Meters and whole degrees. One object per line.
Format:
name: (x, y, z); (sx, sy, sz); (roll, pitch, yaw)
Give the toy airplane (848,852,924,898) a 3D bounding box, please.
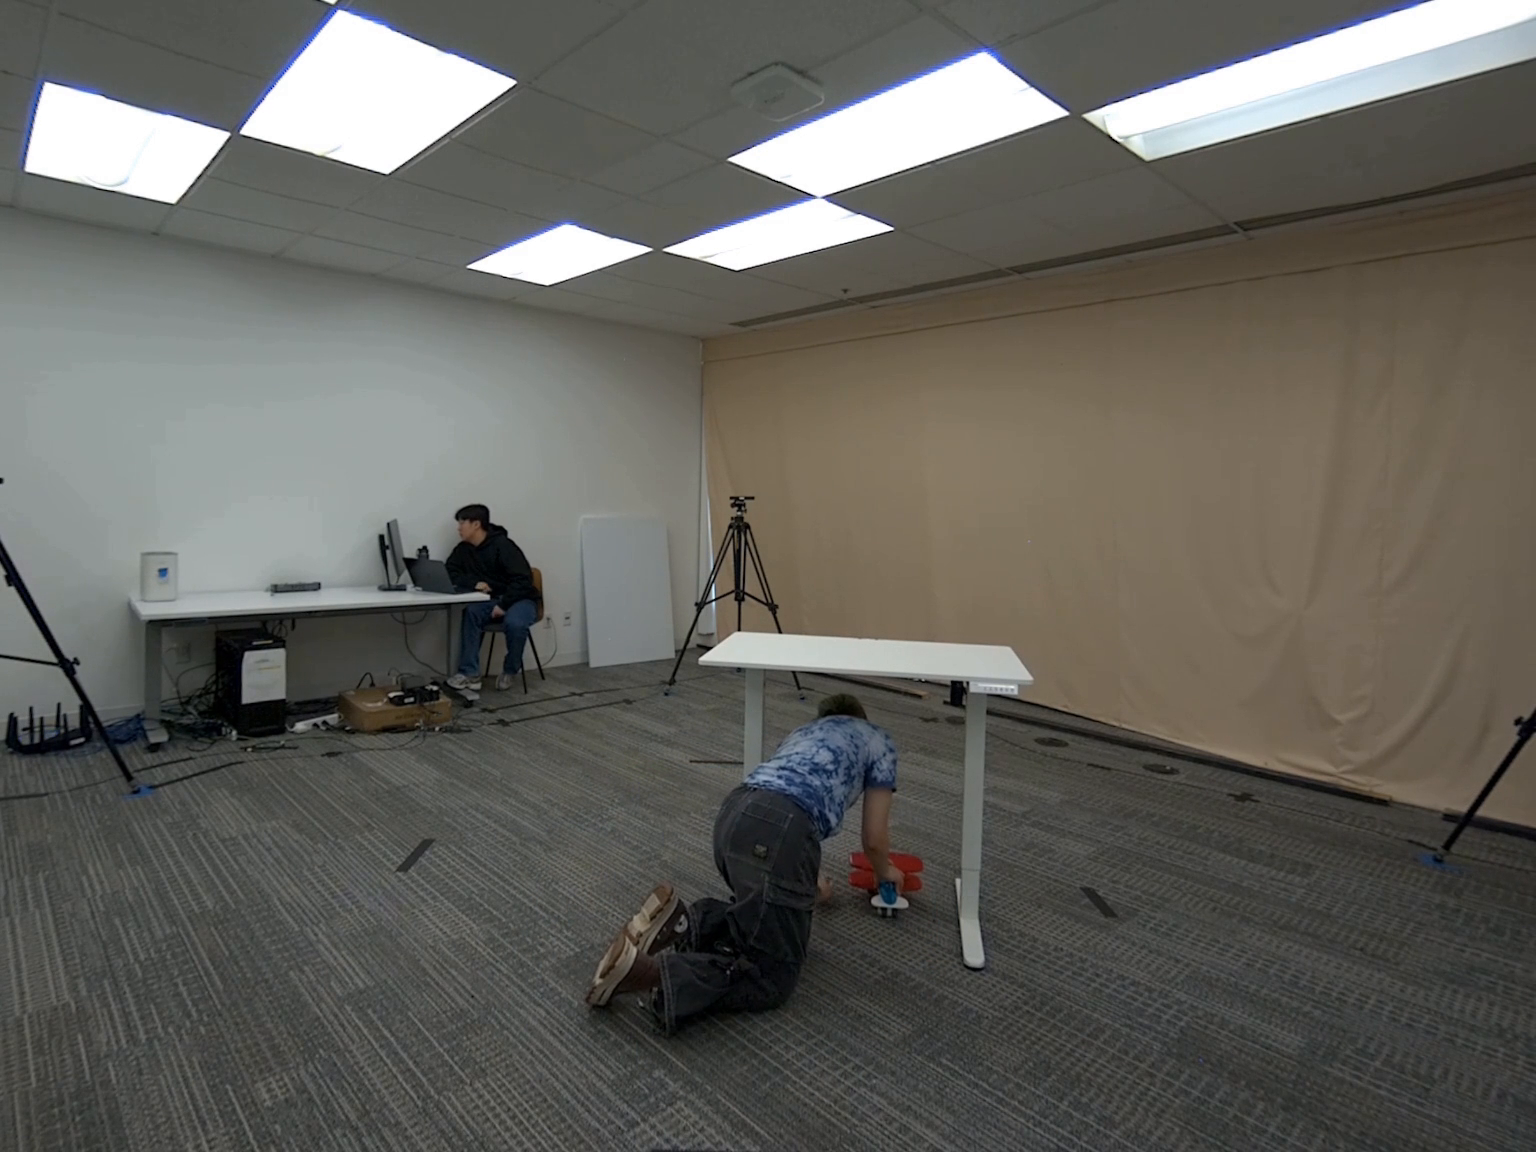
toy airplane: (0.425, 1.067, 2.902); (0.247, 0.156, 0.264); (0, 5, -24)
